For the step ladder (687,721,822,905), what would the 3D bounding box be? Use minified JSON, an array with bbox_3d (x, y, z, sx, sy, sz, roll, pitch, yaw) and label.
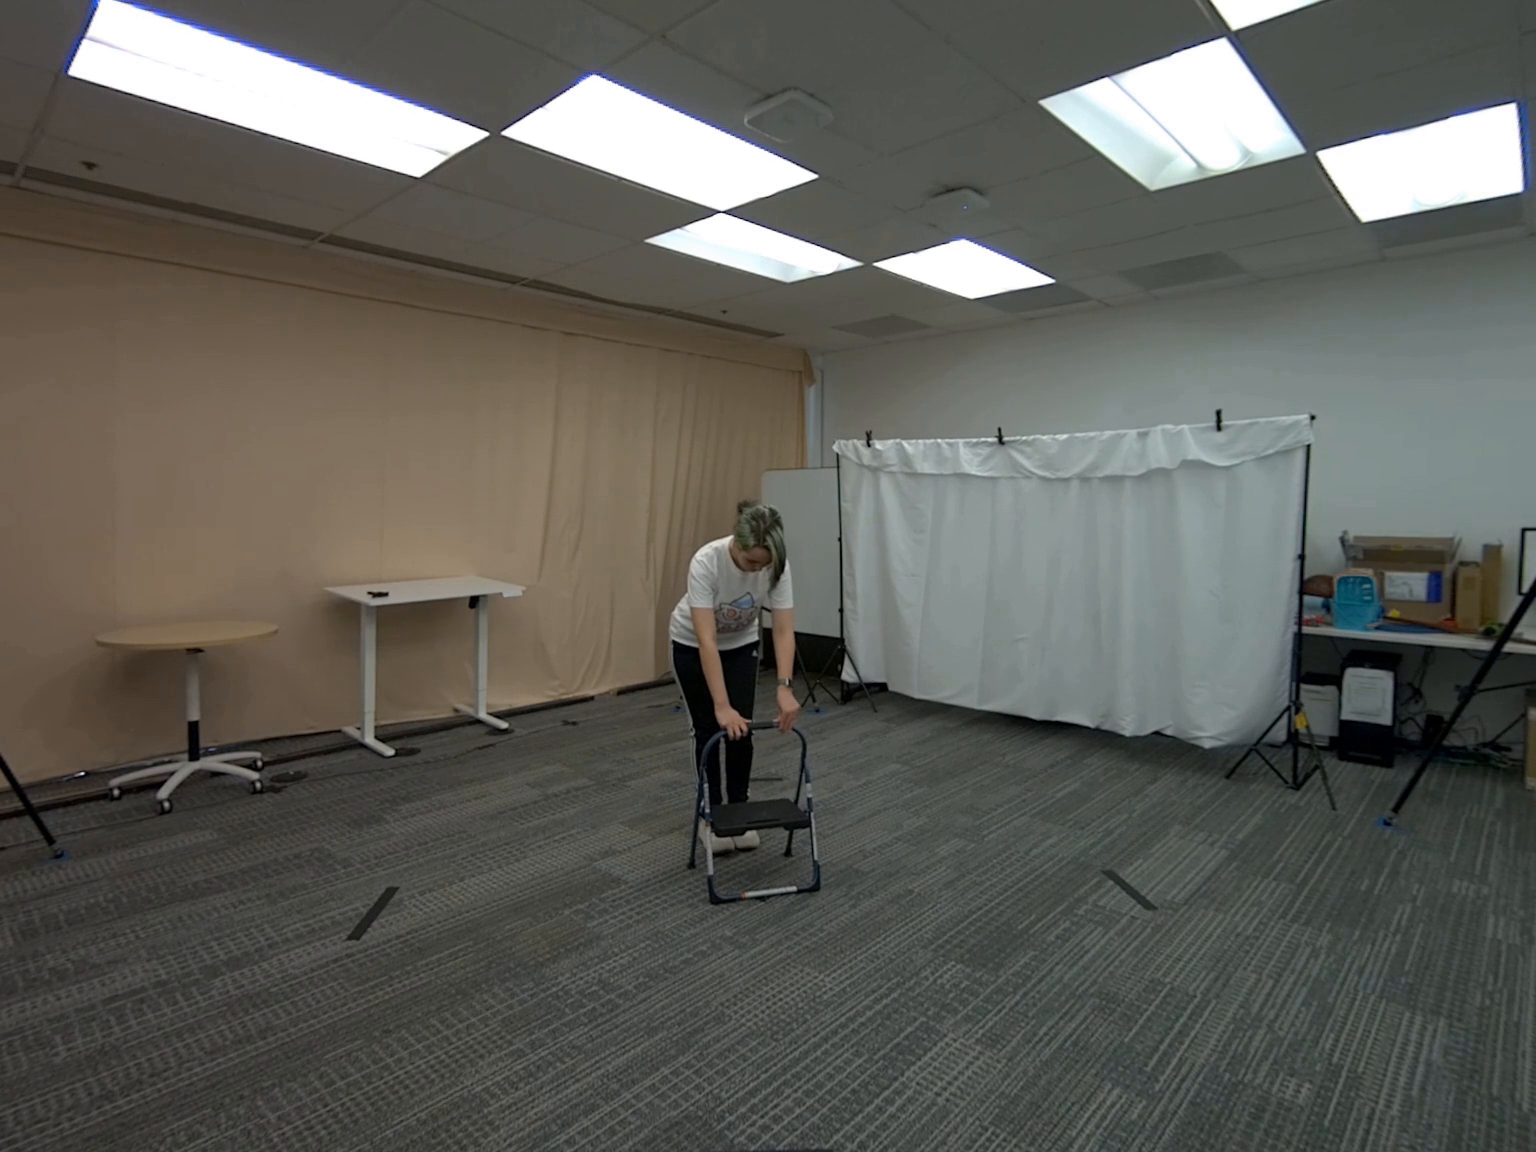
[{"bbox_3d":[-0.055,0.831,3.137,0.423,0.605,0.356,-1,3,-17],"label":"step ladder"}]
